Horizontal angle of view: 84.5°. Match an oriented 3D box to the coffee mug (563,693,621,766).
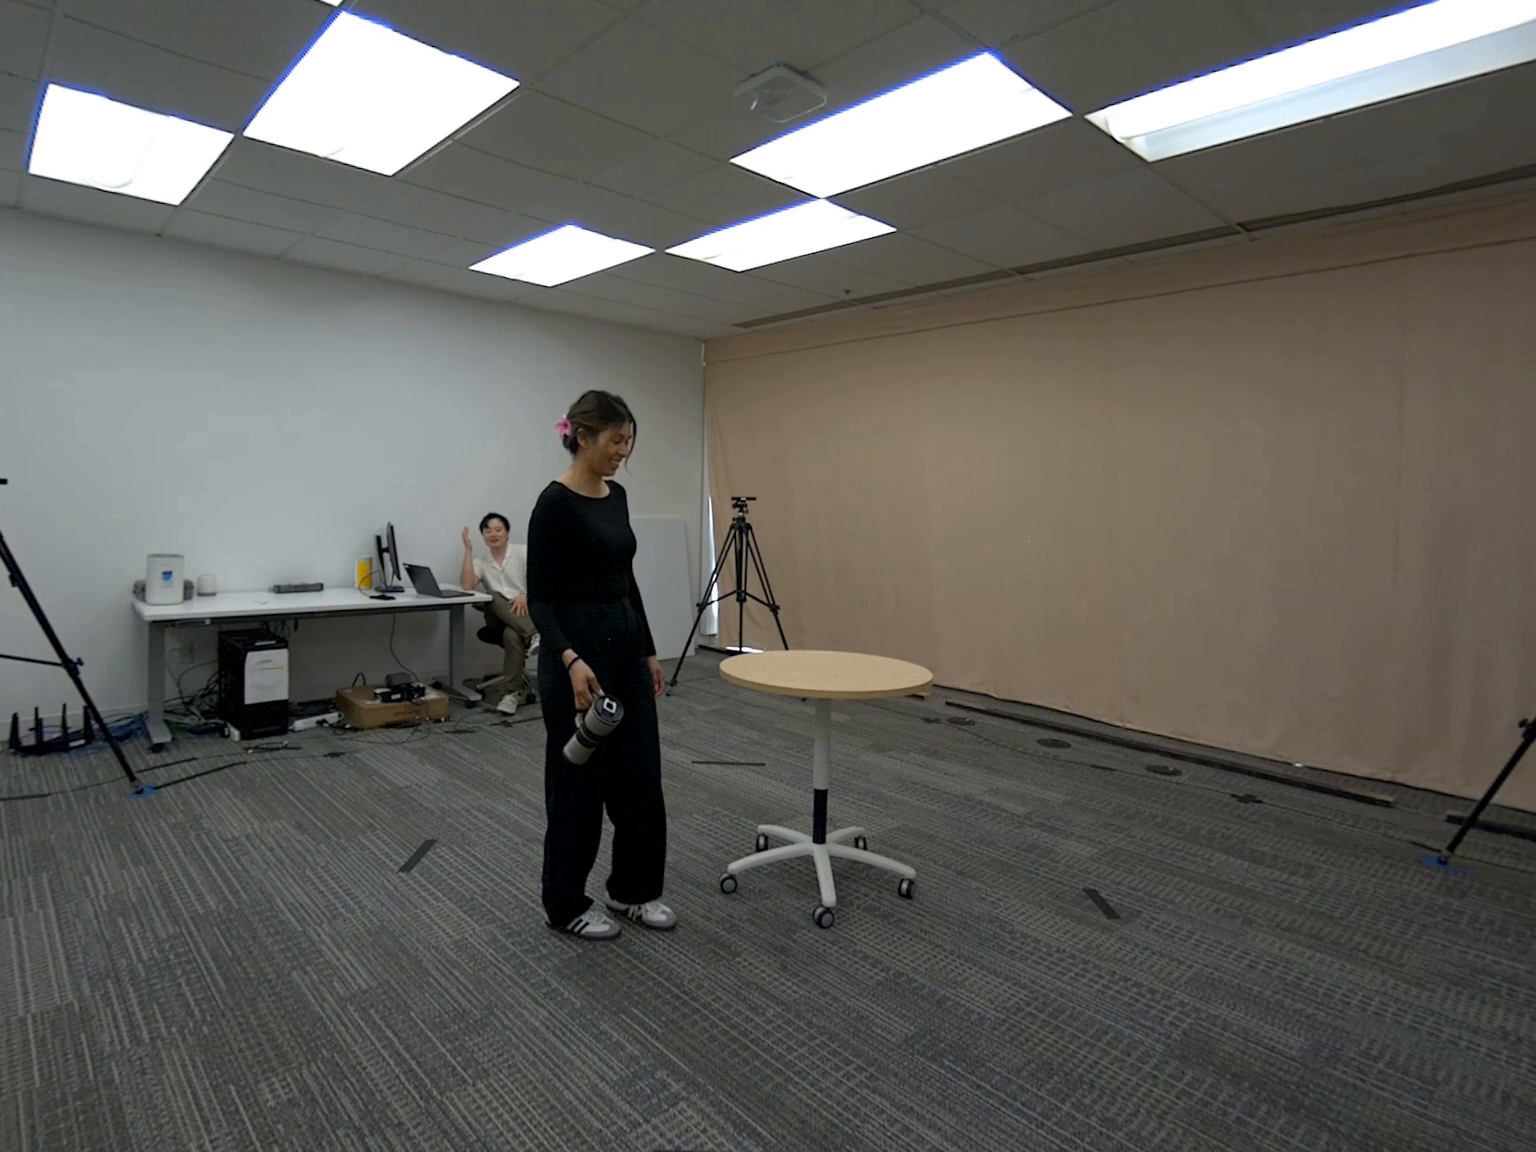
[{"bbox_3d":[-0.502,0.418,2.285,0.086,0.202,0.125,22,29,-23],"label":"coffee mug"}]
